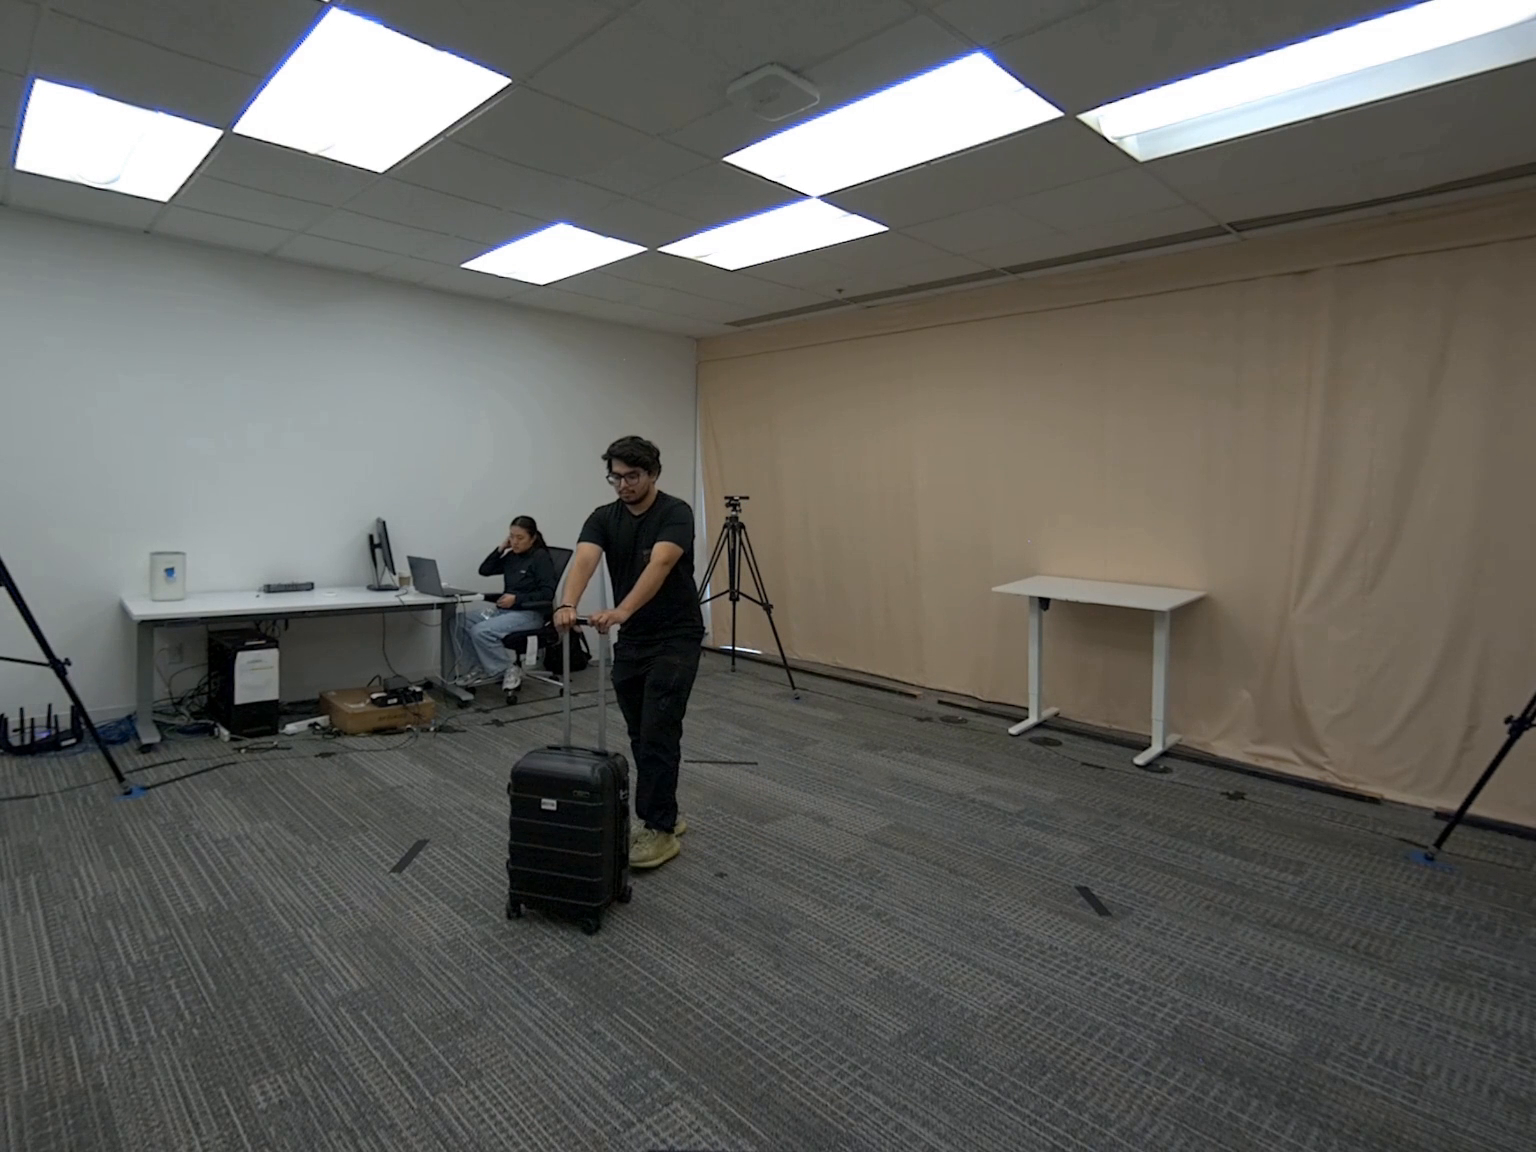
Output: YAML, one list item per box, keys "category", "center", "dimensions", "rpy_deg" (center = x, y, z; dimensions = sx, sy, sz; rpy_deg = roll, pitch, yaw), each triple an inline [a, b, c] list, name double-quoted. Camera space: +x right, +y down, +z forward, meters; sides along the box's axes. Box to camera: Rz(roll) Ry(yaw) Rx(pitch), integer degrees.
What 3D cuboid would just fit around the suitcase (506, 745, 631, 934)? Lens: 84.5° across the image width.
- category: "suitcase"
  center: [-0.662, 0.654, 2.765]
  dimensions: [0.389, 0.974, 0.255]
  rpy_deg: [2, 7, 15]
